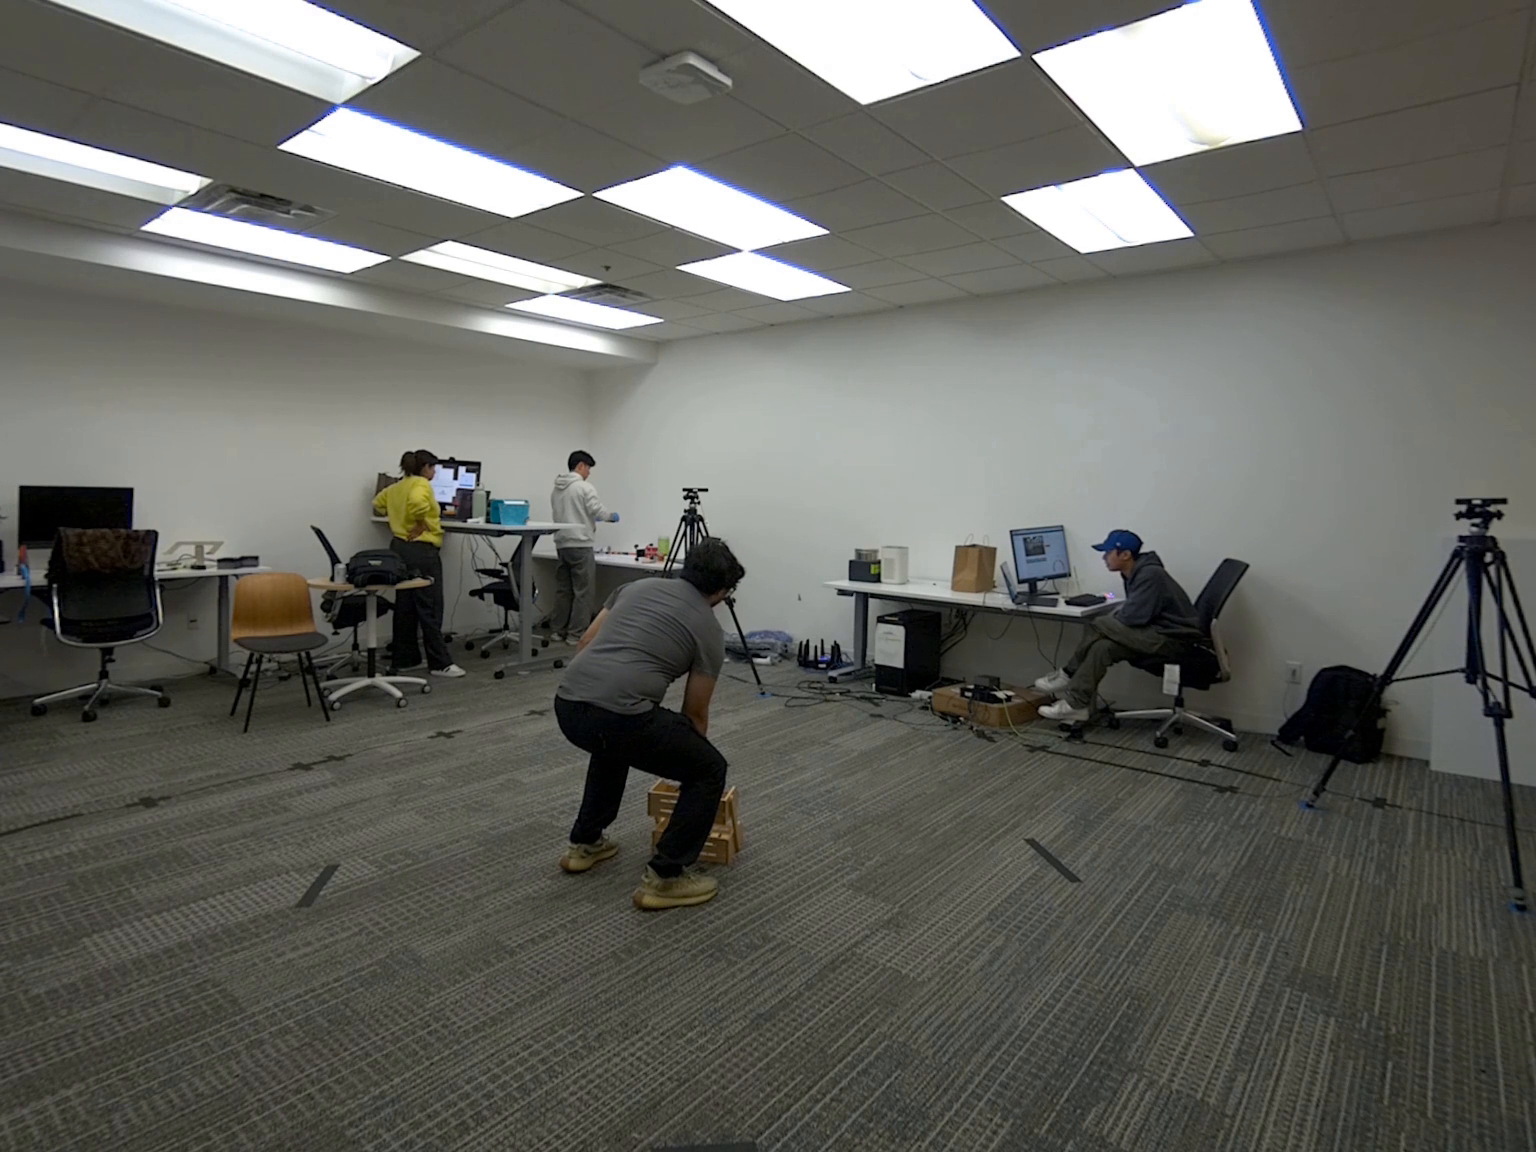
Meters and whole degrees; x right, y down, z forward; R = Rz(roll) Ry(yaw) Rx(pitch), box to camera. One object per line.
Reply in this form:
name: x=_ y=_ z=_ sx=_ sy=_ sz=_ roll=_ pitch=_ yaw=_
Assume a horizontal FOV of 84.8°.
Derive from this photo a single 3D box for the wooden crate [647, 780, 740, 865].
wooden crate: x=-0.284 y=0.915 z=3.280 sx=0.329 sy=0.272 sz=0.299 roll=1 pitch=5 yaw=13
